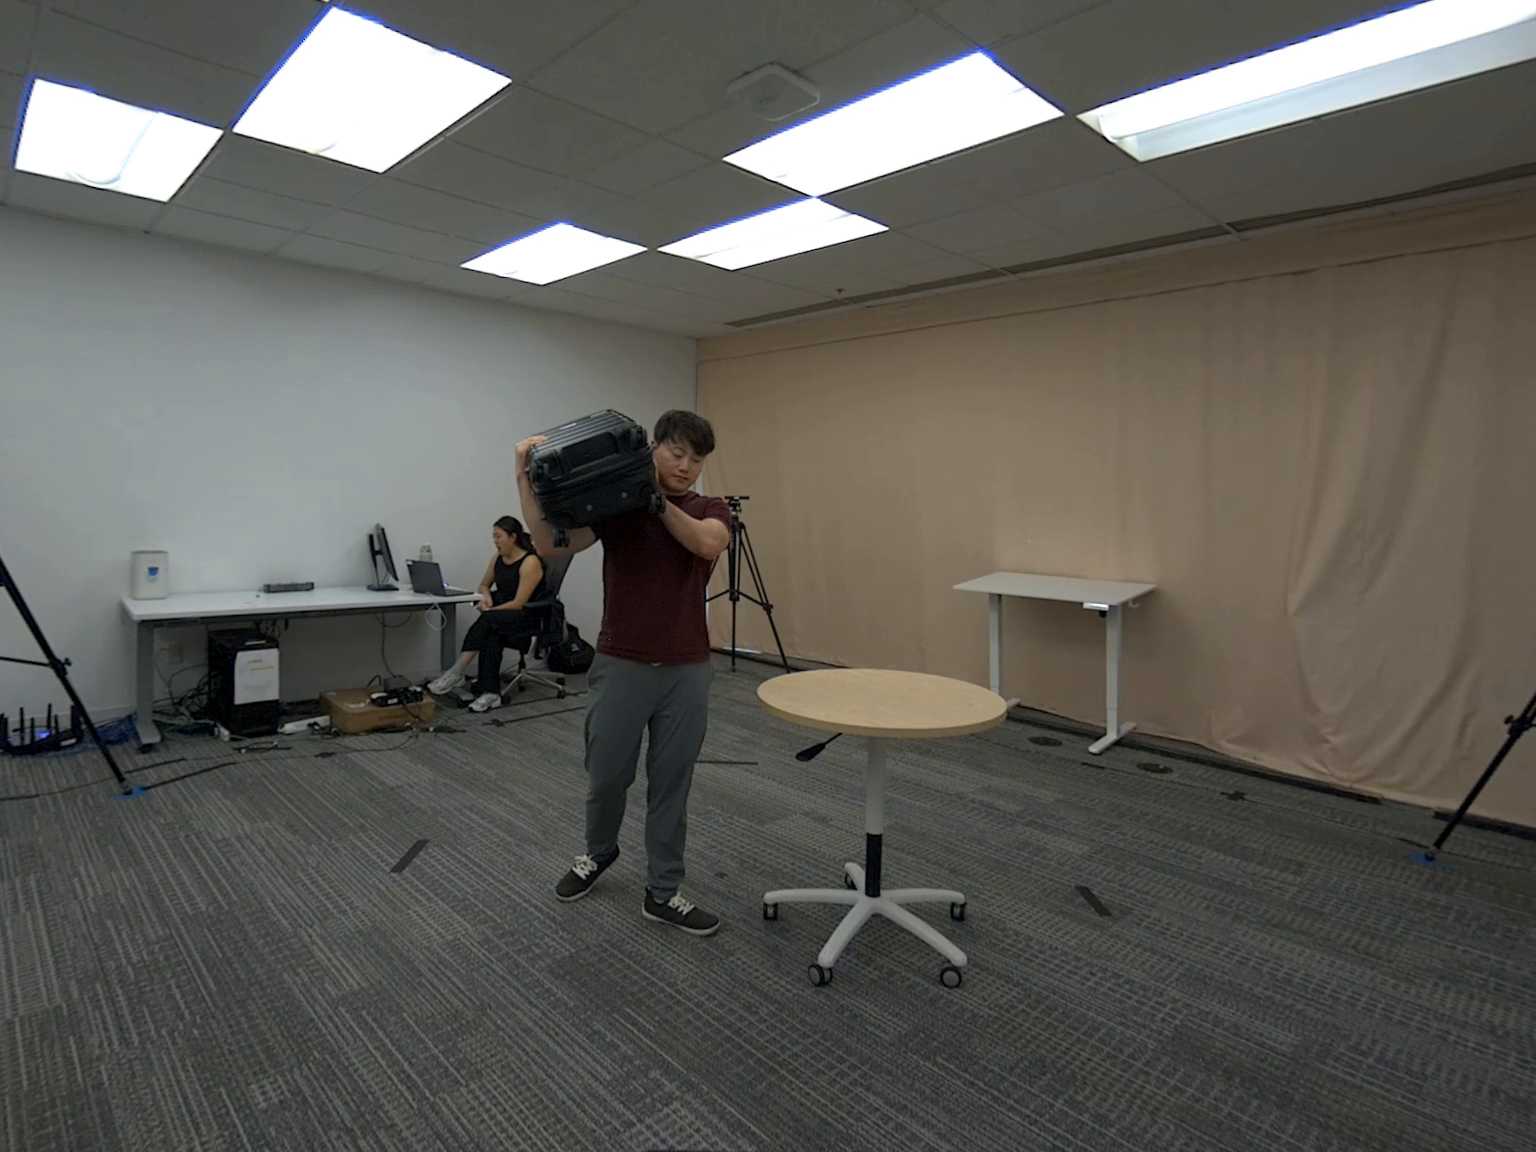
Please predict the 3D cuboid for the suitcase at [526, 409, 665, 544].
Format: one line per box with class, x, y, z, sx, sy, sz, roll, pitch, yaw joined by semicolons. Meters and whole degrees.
suitcase;-0.634;-0.393;2.784;0.382;0.252;1.002;-22;23;-12
